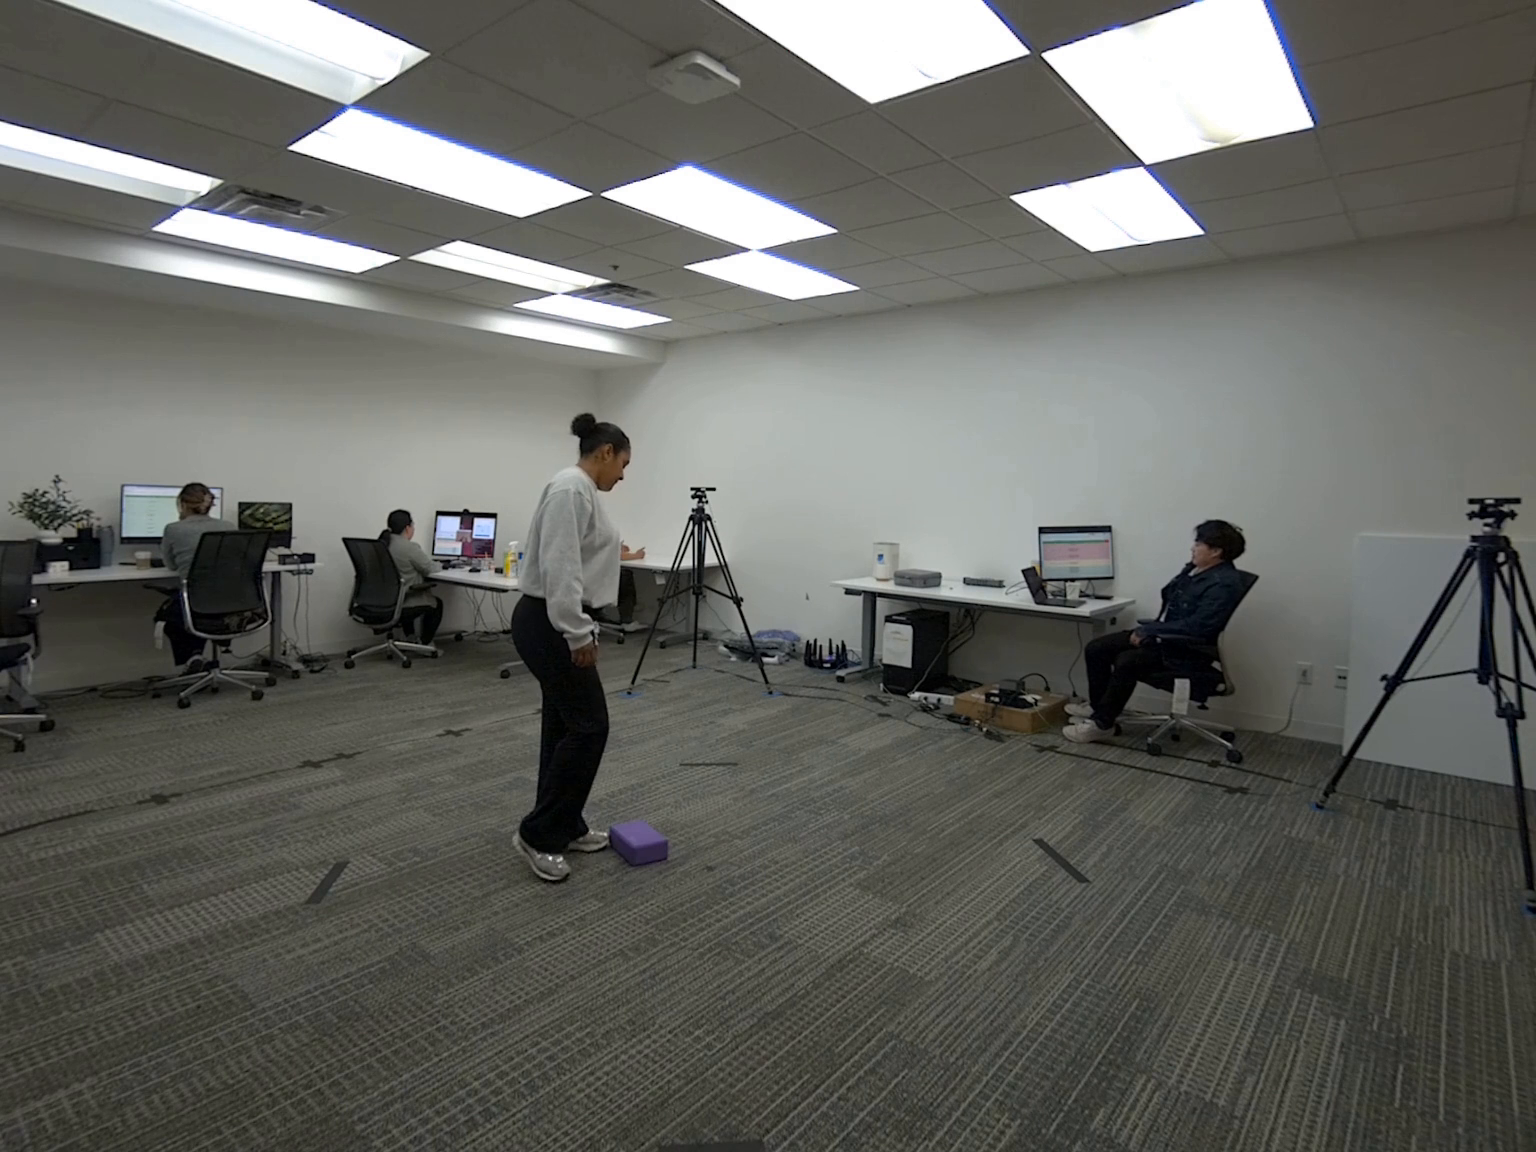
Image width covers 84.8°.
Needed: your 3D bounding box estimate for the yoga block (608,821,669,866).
[{"bbox_3d":[-0.505,1.015,3.229,0.145,0.076,0.237,-2,7,-33],"label":"yoga block"}]
